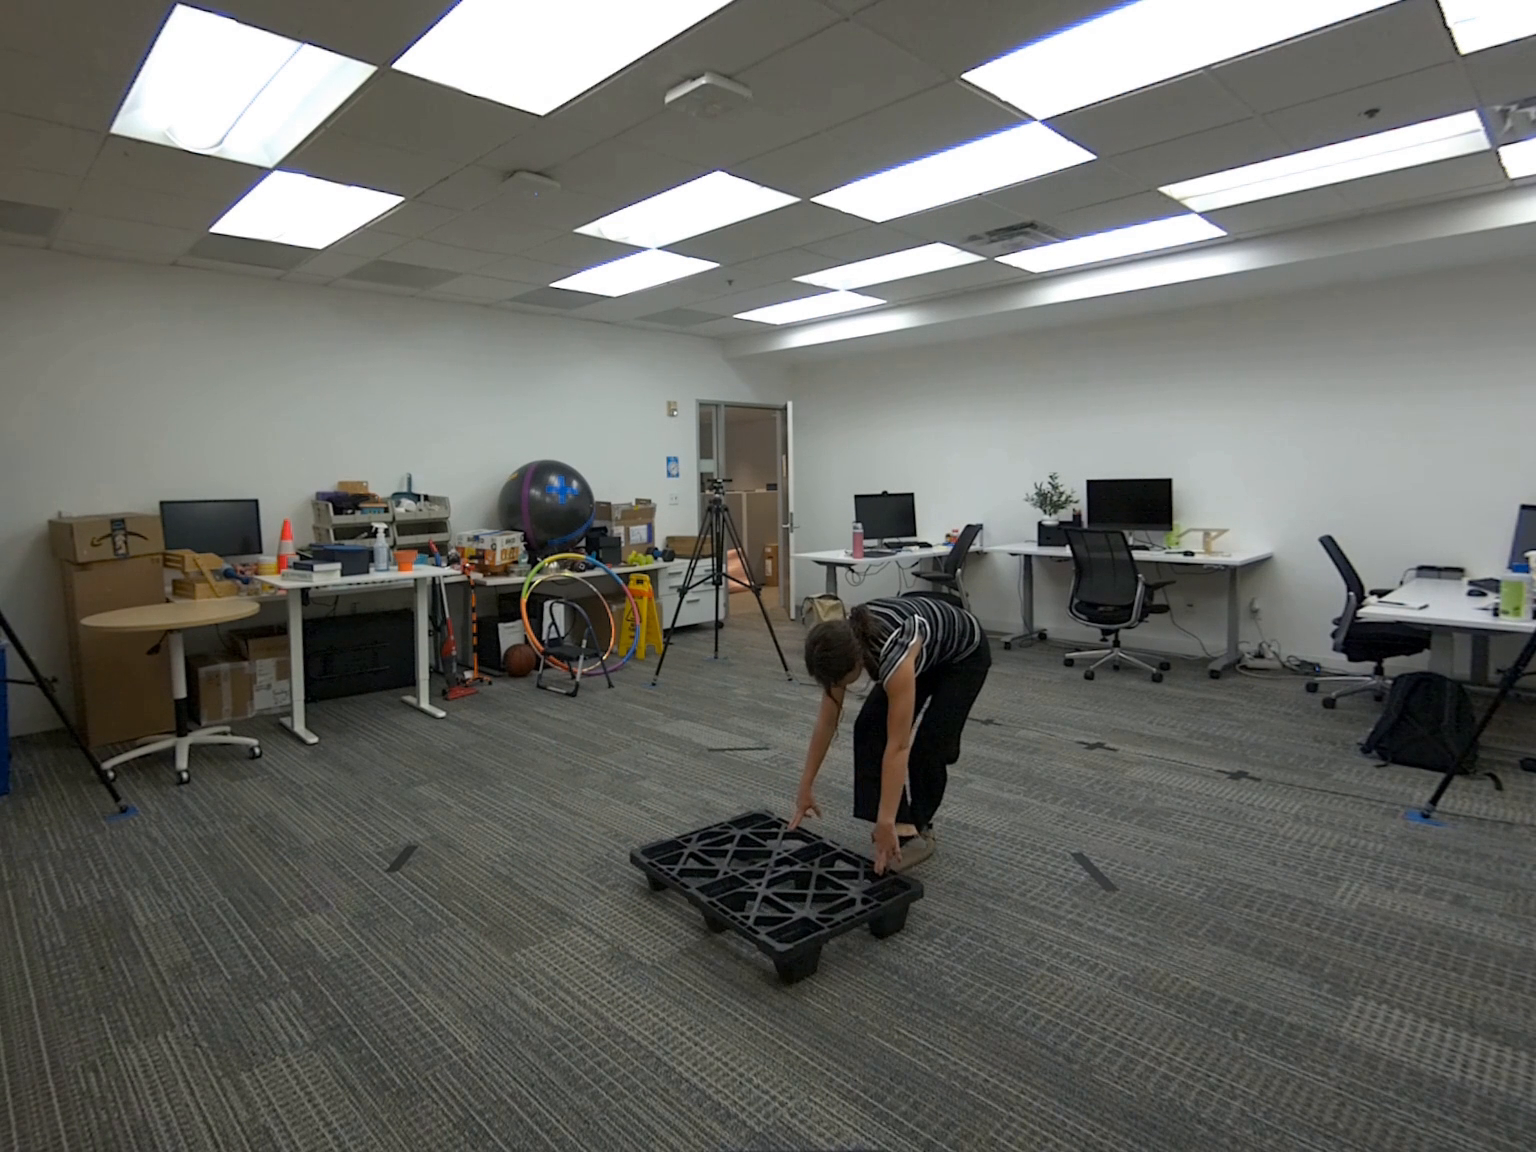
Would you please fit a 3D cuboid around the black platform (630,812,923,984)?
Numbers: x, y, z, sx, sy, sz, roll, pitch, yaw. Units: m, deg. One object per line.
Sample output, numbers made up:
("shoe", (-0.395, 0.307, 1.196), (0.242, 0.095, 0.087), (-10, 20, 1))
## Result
("black platform", (0.004, 1.015, 2.778), (0.590, 0.142, 0.830), (-7, 9, -37))
